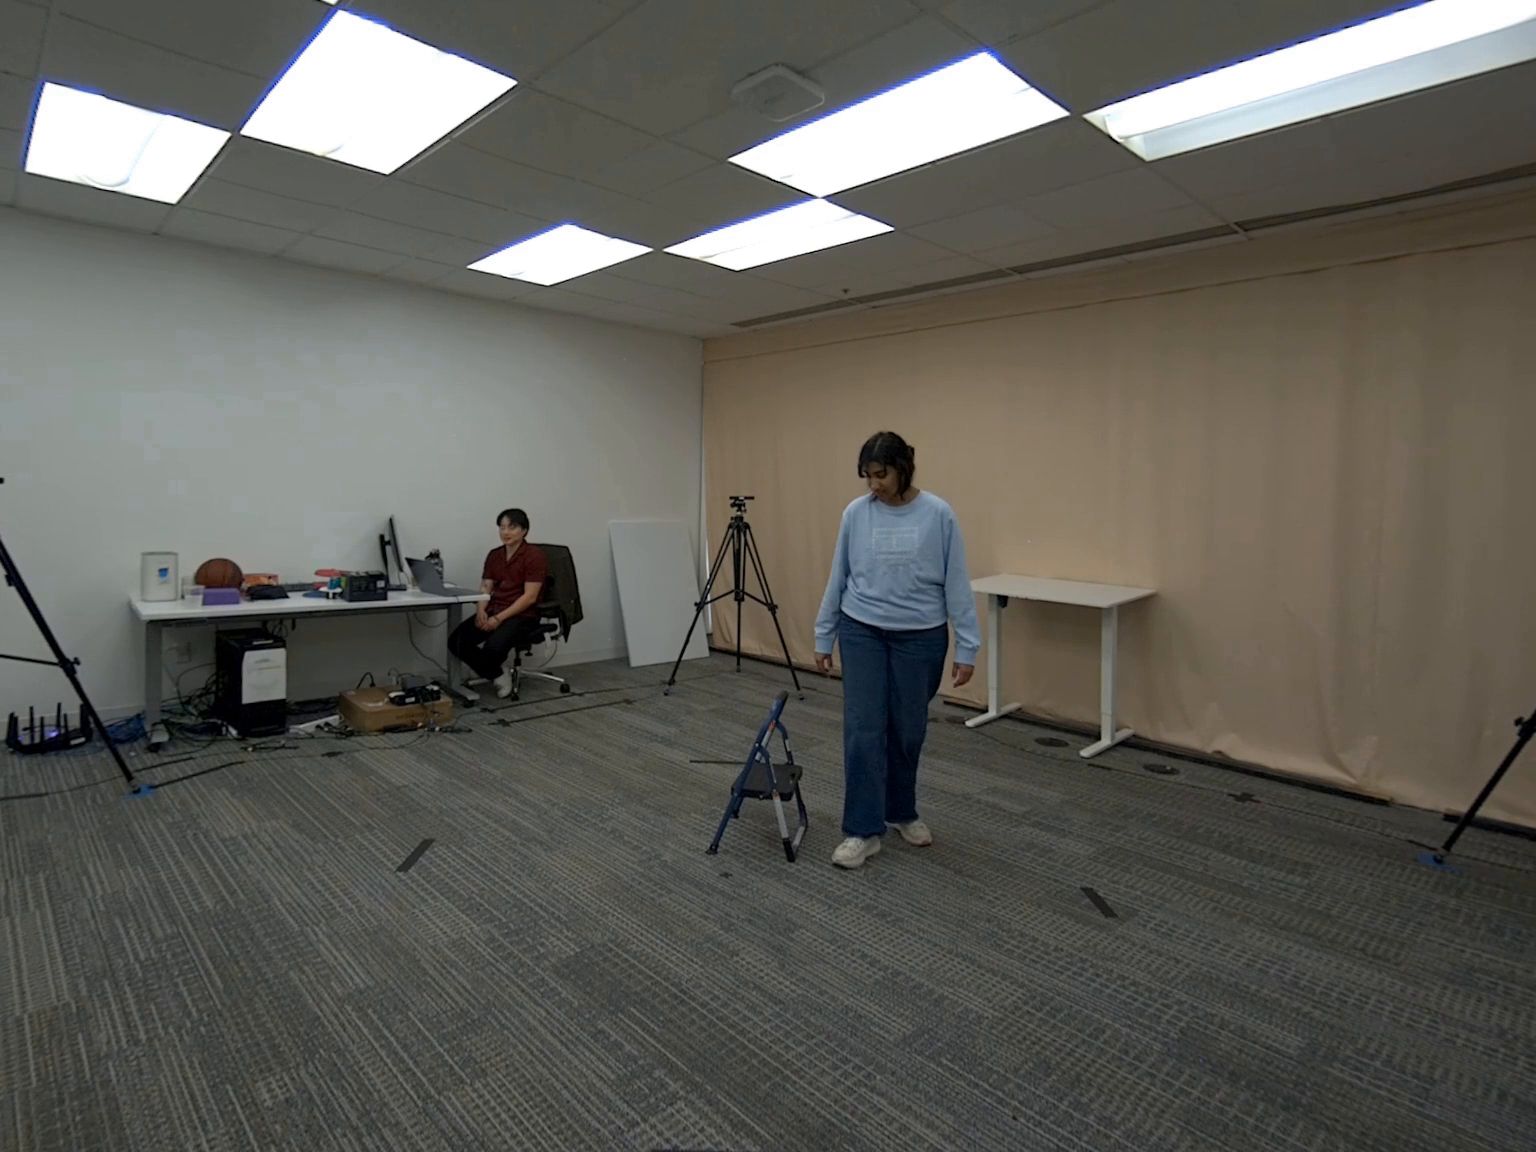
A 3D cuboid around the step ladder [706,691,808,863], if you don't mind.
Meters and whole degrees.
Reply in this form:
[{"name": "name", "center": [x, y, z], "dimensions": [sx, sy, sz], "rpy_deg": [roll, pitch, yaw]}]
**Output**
[{"name": "step ladder", "center": [-0.028, 0.772, 3.442], "dimensions": [0.353, 0.605, 0.427], "rpy_deg": [3, 4, 11]}]
